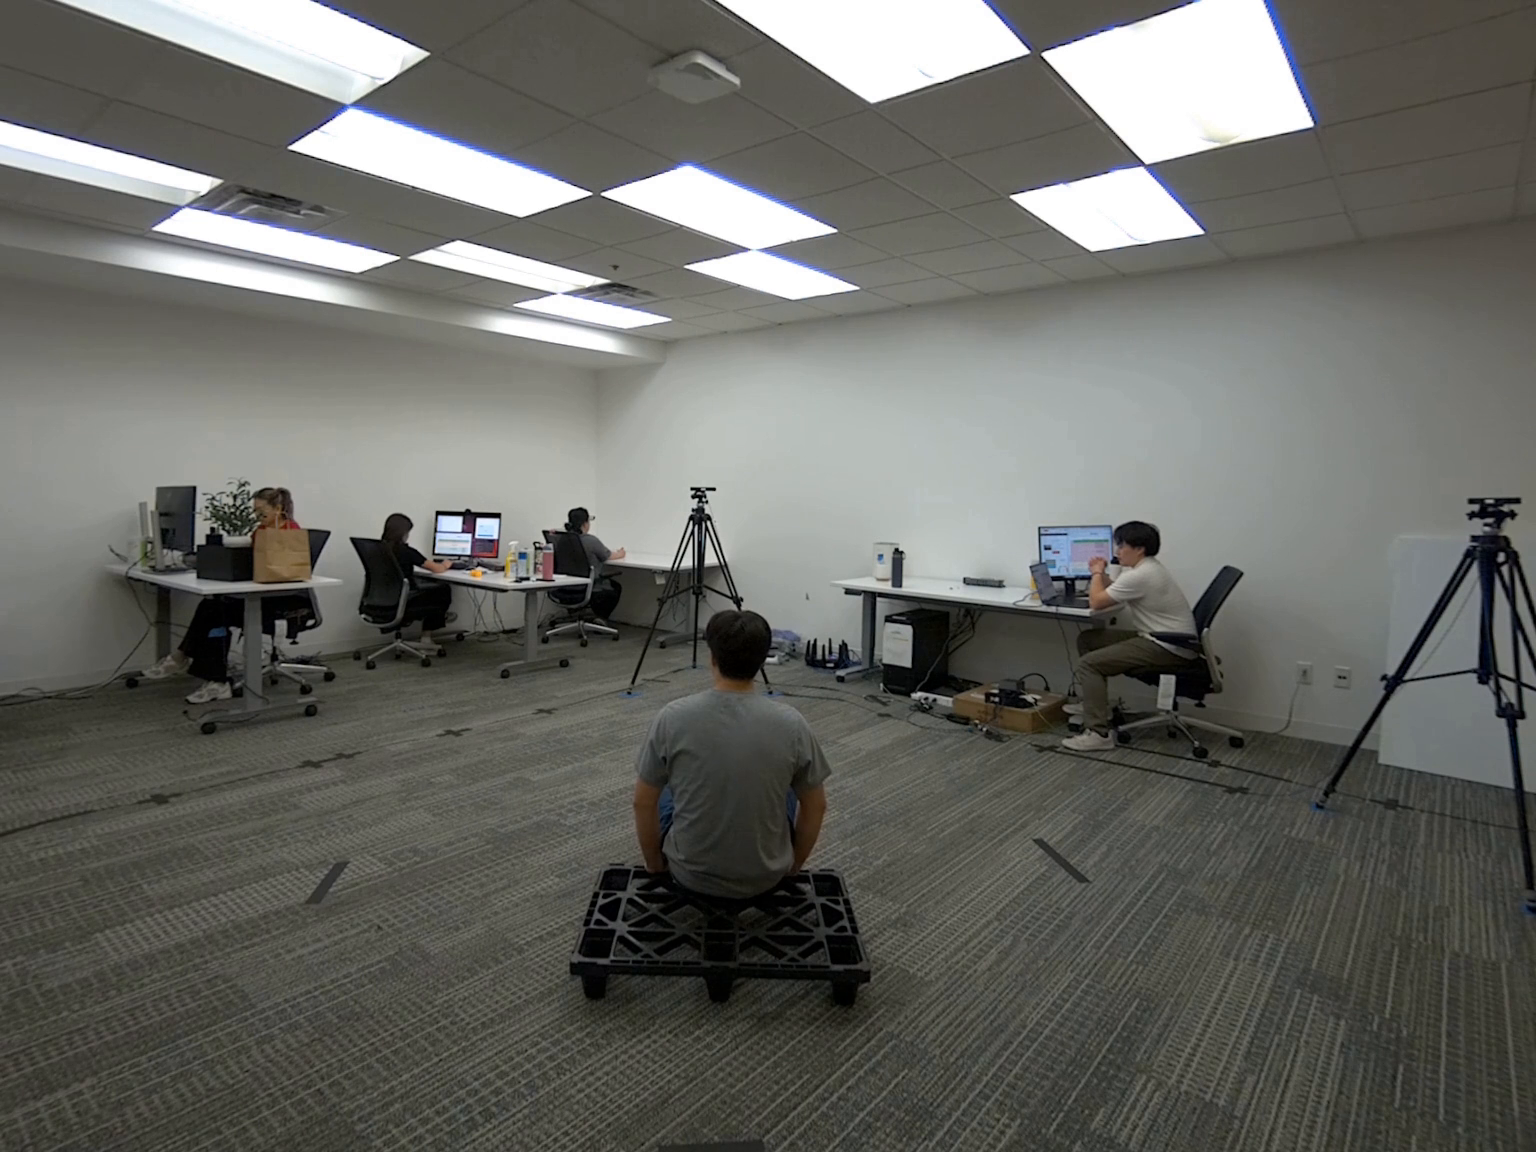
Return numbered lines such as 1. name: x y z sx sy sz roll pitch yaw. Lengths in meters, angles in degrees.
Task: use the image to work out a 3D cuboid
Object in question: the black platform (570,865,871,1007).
1. black platform: -0.153 1.054 2.531 0.806 0.143 0.607 1 5 0
